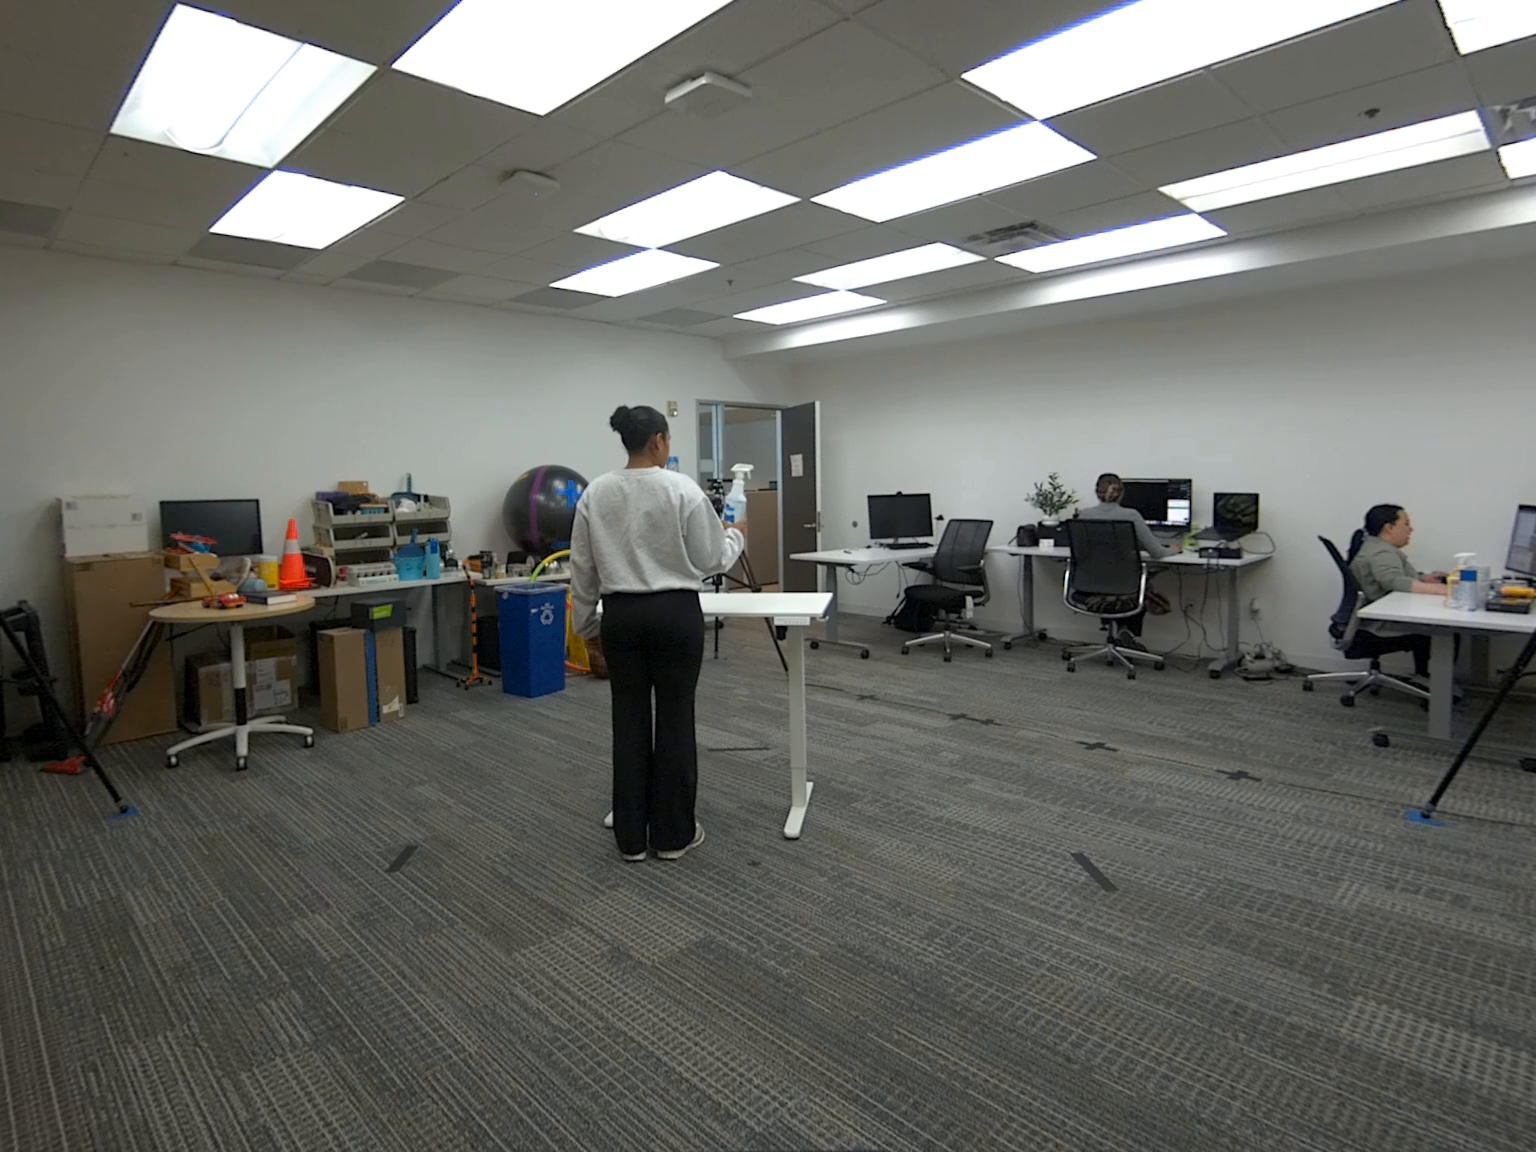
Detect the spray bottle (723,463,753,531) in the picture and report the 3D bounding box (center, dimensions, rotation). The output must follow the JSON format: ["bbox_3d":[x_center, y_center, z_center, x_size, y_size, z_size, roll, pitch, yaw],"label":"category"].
[{"bbox_3d":[-0.125,-0.294,3.437,0.090,0.296,0.087,9,6,3],"label":"spray bottle"}]
